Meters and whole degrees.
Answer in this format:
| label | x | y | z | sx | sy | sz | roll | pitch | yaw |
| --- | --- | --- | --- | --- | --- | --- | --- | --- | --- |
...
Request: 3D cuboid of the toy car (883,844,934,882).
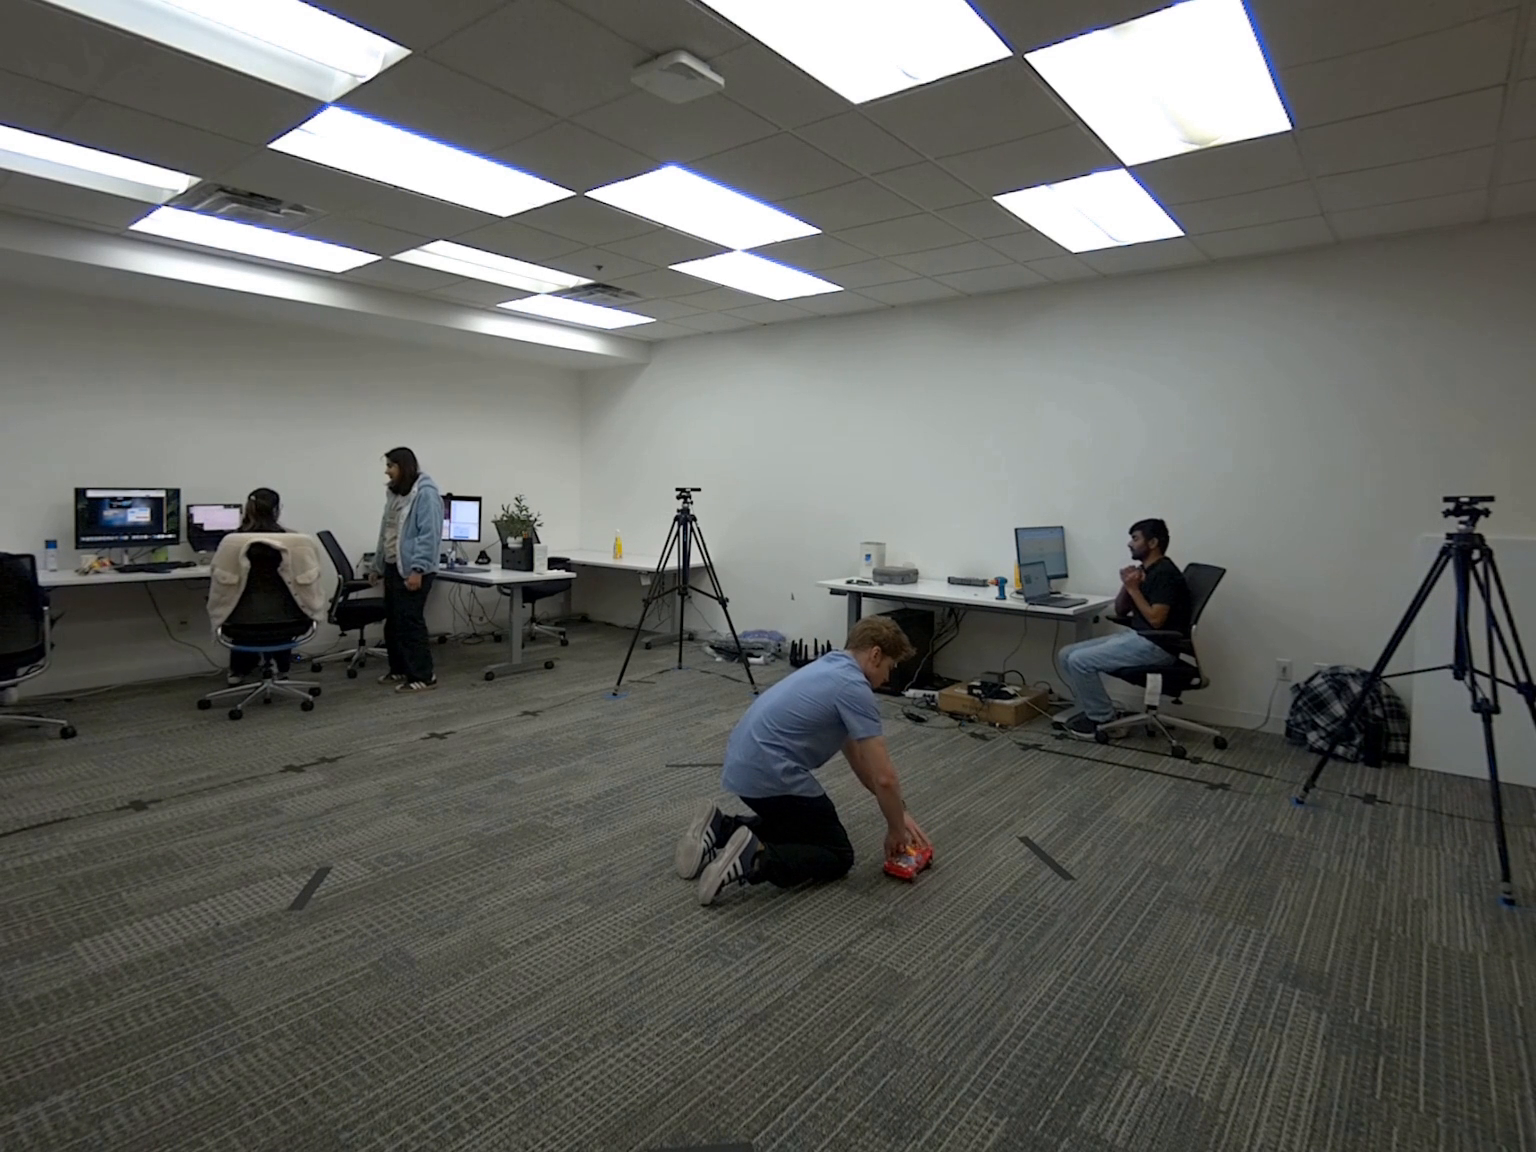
| label | x | y | z | sx | sy | sz | roll | pitch | yaw |
| --- | --- | --- | --- | --- | --- | --- | --- | --- | --- |
| toy car | 0.525 | 1.051 | 3.145 | 0.134 | 0.082 | 0.250 | 5 | 18 | 34 |
